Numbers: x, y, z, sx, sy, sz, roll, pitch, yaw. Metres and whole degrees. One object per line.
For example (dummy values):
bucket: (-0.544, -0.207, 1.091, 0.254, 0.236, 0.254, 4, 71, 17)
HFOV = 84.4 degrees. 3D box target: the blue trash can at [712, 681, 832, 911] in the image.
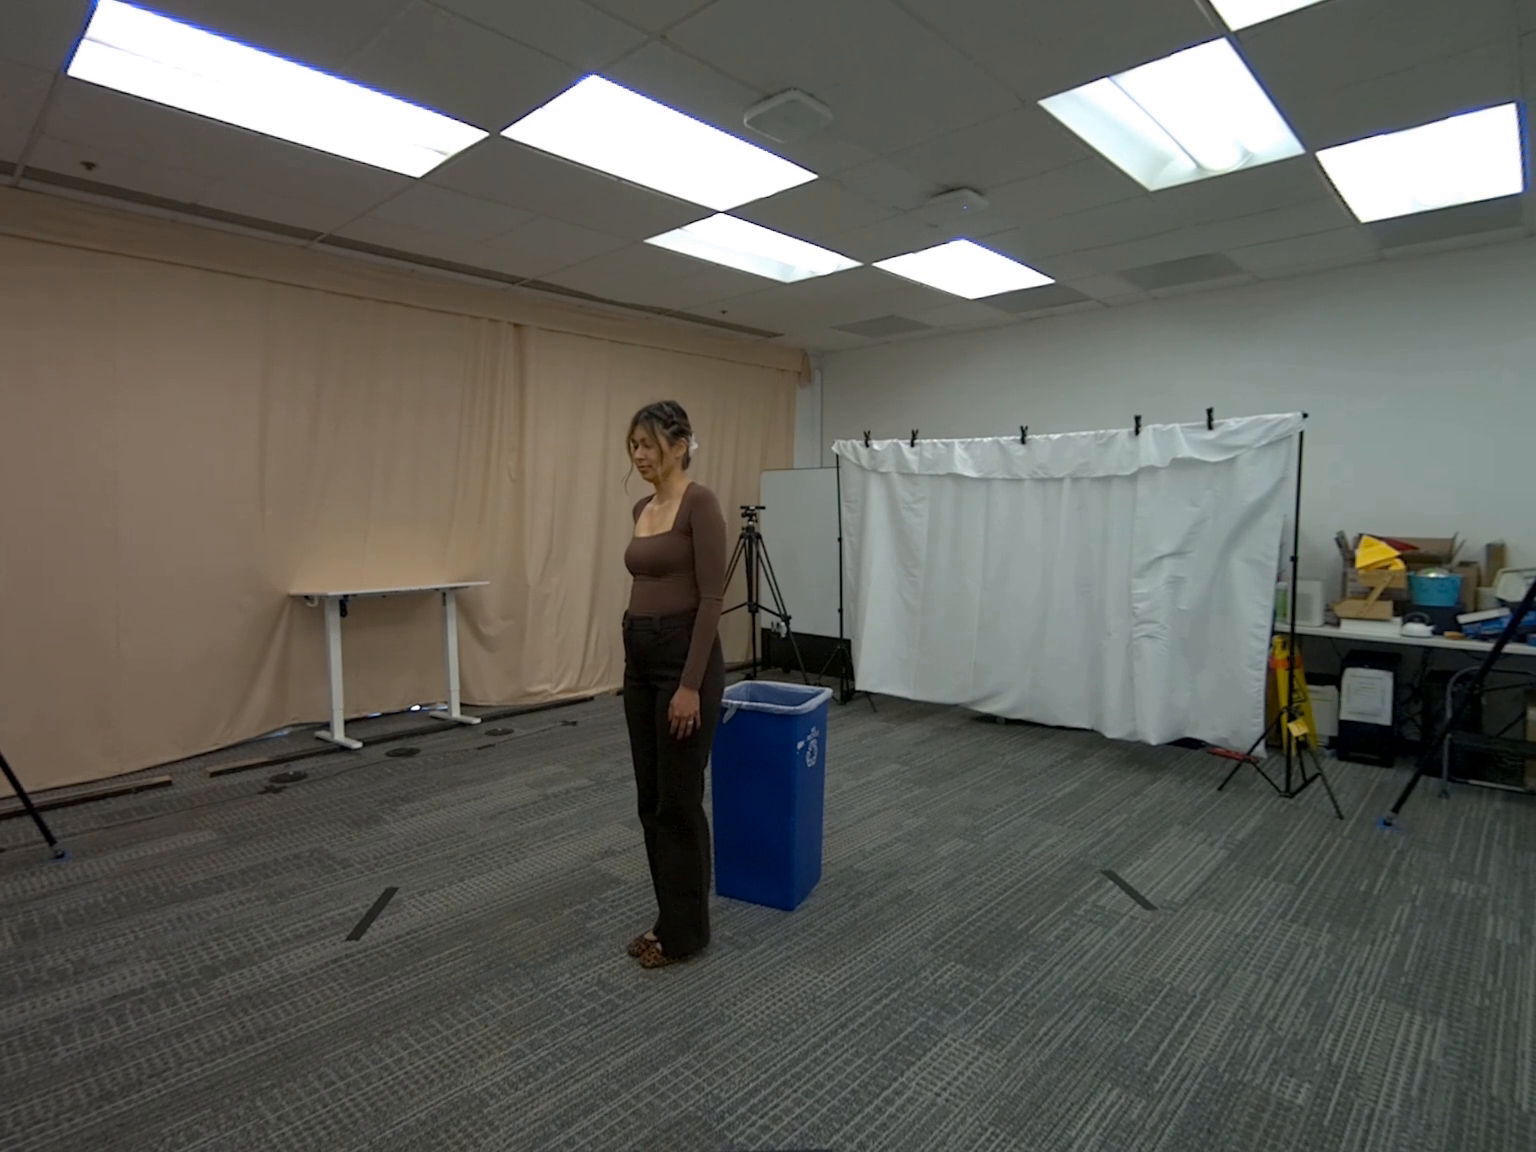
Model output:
blue trash can: (0.005, 0.778, 3.063, 0.384, 0.712, 0.369, 3, 4, 24)
